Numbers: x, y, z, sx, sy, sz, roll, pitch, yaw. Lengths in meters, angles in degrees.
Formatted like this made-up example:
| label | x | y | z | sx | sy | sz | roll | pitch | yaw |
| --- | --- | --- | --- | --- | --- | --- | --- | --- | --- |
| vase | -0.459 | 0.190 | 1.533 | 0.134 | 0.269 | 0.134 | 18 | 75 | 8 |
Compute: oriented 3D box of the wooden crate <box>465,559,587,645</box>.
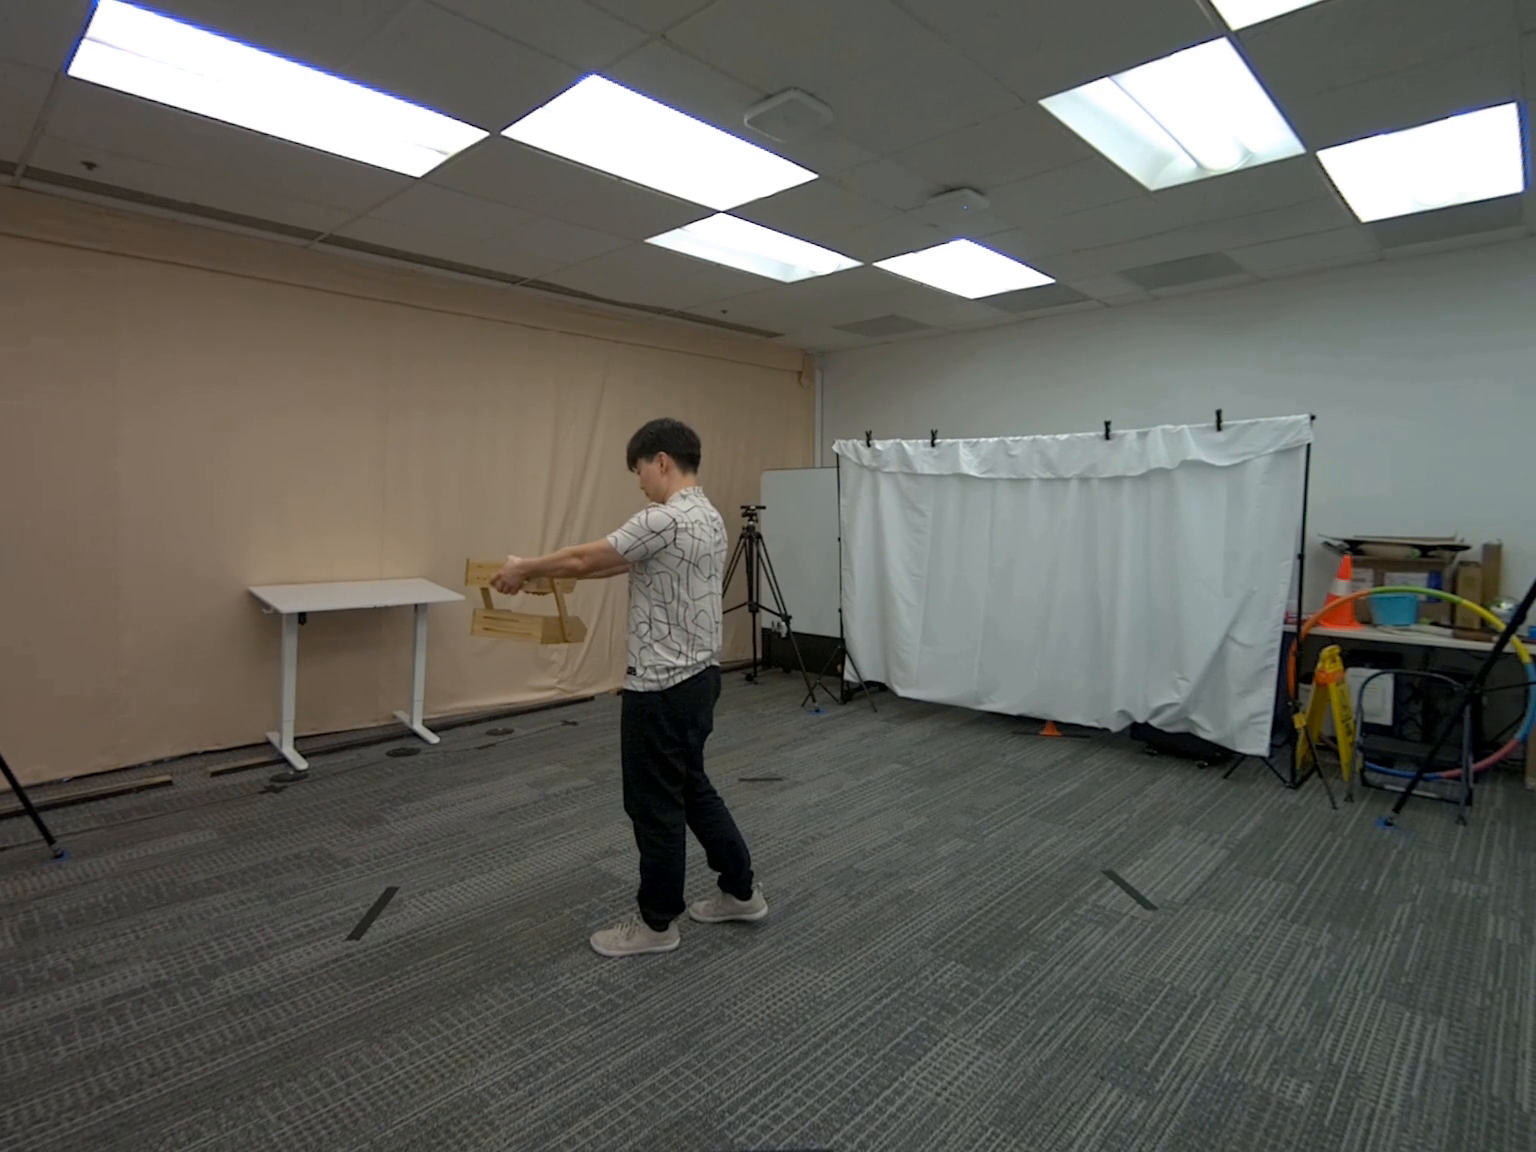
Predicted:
| label | x | y | z | sx | sy | sz | roll | pitch | yaw |
| --- | --- | --- | --- | --- | --- | --- | --- | --- | --- |
| wooden crate | -0.805 | 0.084 | 2.867 | 0.332 | 0.273 | 0.294 | 3 | -2 | 22 |
